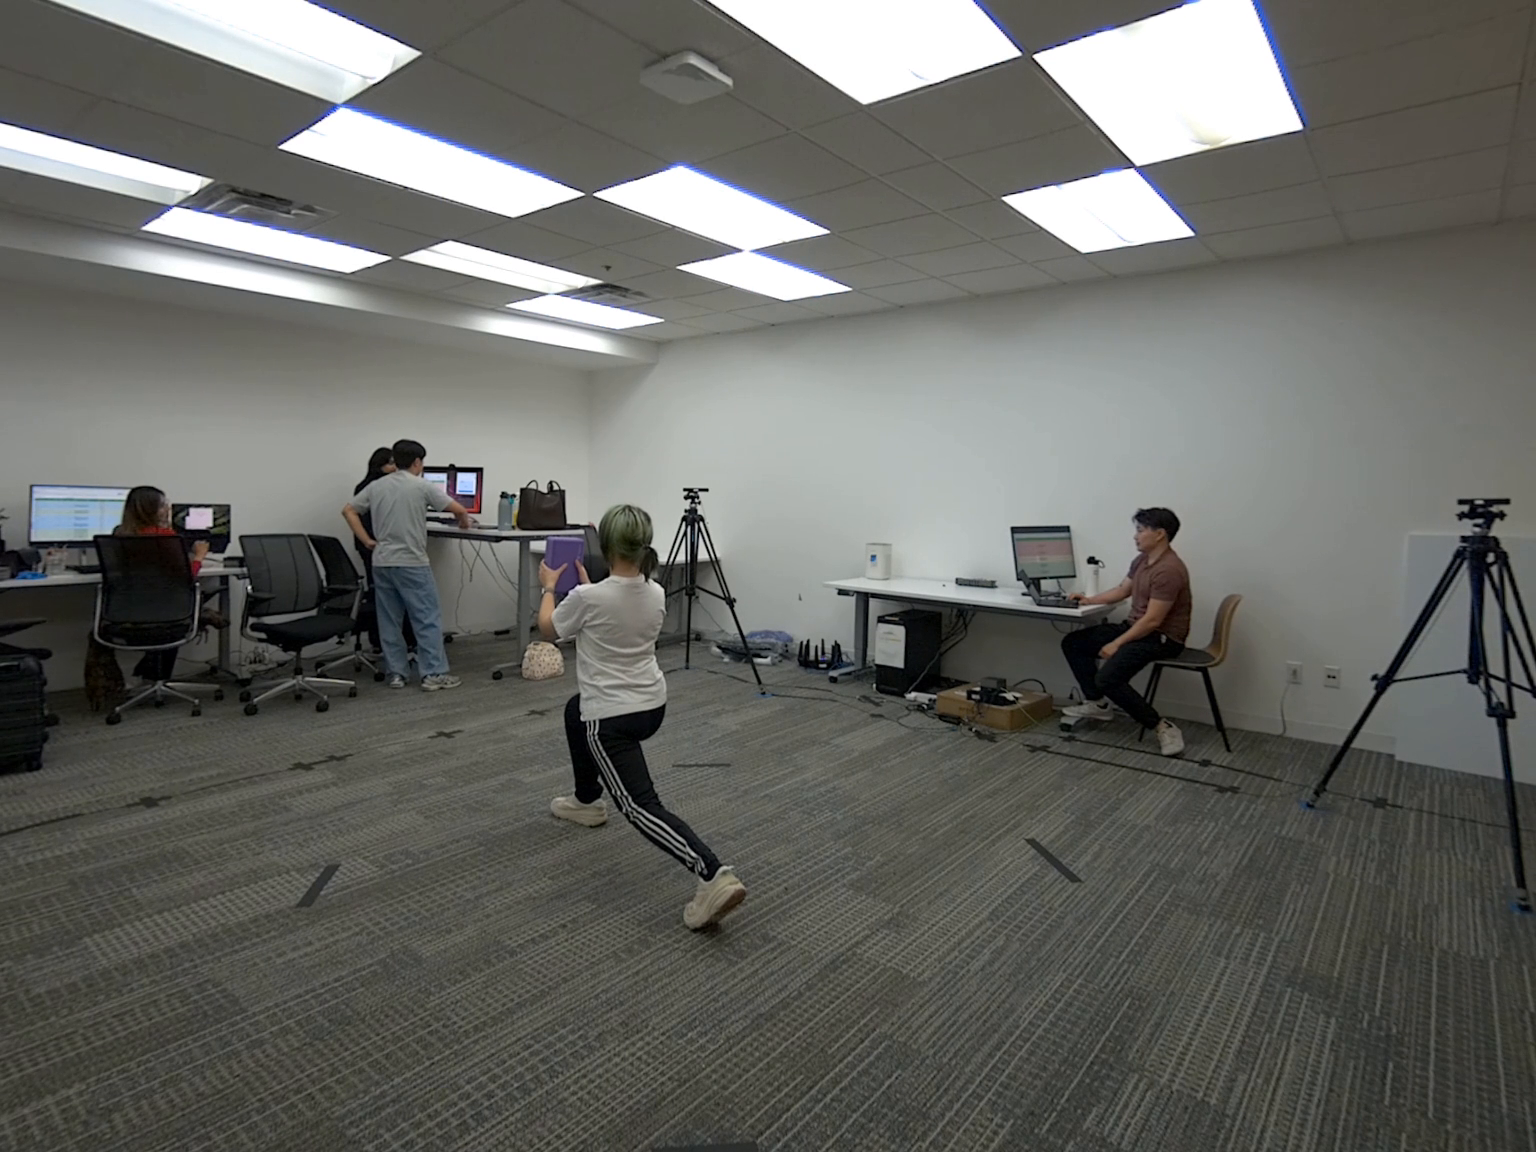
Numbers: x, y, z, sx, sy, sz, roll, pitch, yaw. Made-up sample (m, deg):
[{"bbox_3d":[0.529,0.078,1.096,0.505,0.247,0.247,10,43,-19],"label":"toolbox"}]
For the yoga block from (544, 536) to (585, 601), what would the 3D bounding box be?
[{"bbox_3d":[-0.874,-0.049,3.577,0.144,0.229,0.079,4,4,-39],"label":"yoga block"}]
